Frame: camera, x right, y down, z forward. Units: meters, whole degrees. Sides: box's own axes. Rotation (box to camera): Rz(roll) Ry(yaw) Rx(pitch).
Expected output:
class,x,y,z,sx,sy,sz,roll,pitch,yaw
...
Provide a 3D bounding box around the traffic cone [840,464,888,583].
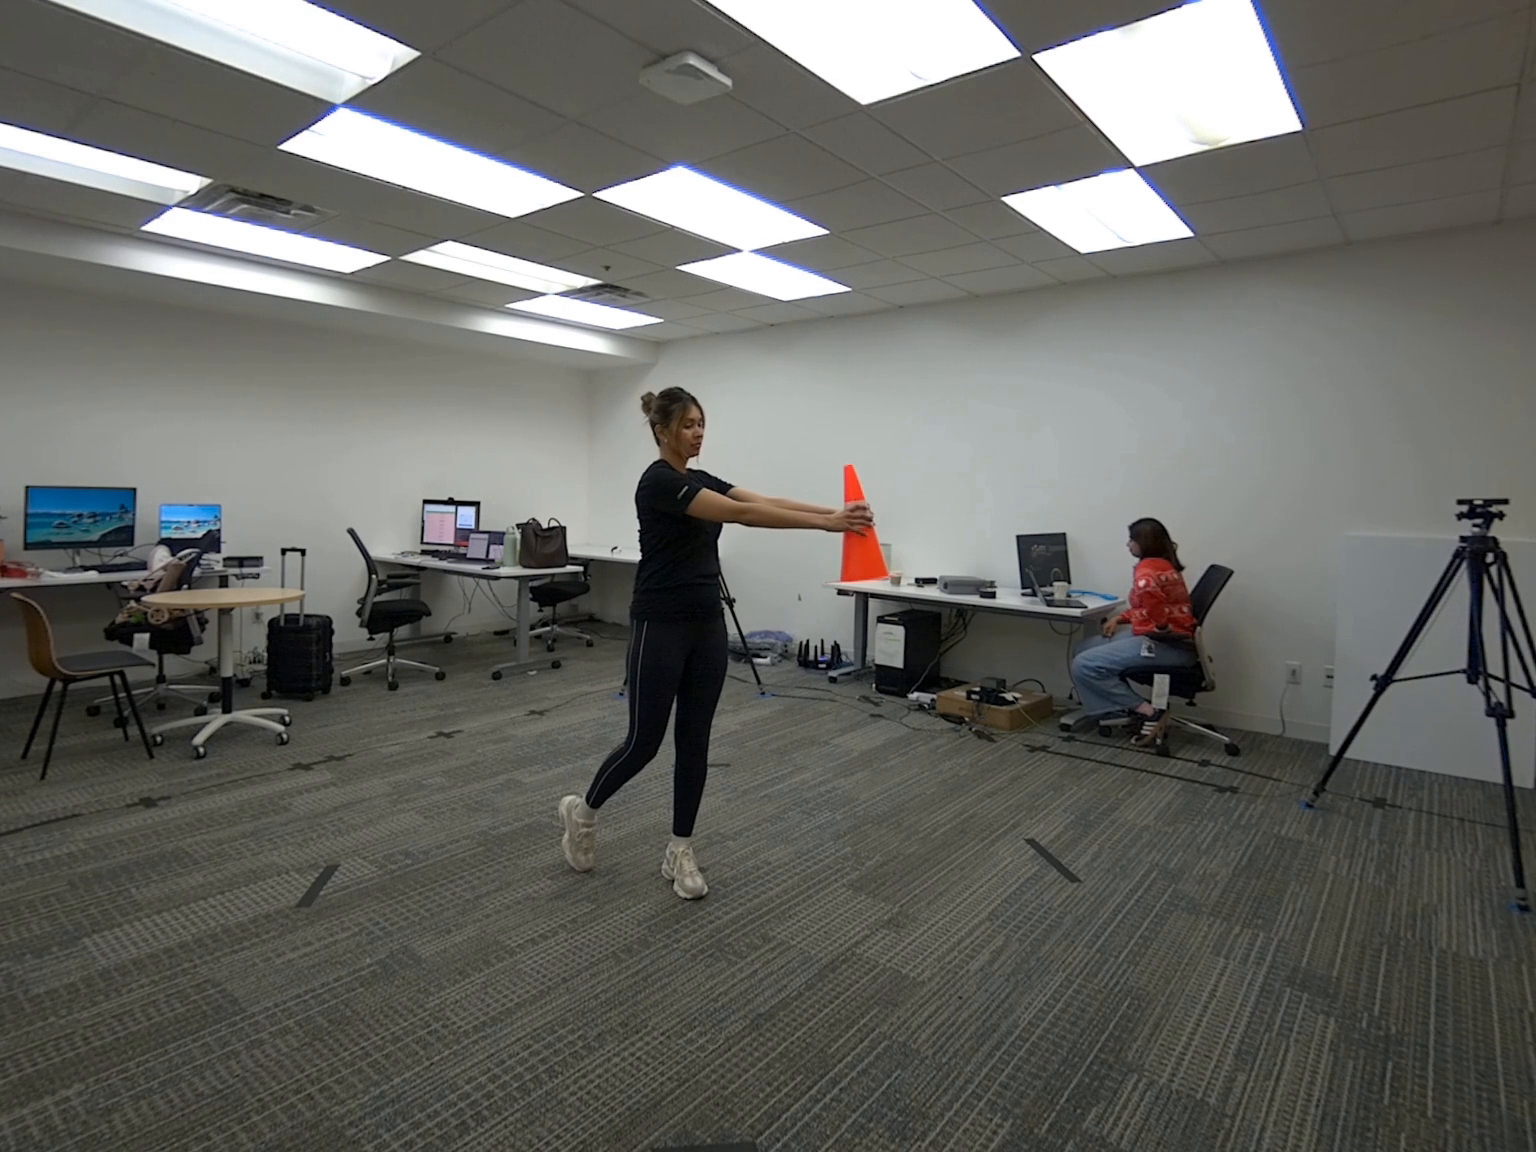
class,x,y,z,sx,sy,sz,roll,pitch,yaw
traffic cone,0.290,-0.180,2.792,0.208,0.384,0.200,-5,-1,26
